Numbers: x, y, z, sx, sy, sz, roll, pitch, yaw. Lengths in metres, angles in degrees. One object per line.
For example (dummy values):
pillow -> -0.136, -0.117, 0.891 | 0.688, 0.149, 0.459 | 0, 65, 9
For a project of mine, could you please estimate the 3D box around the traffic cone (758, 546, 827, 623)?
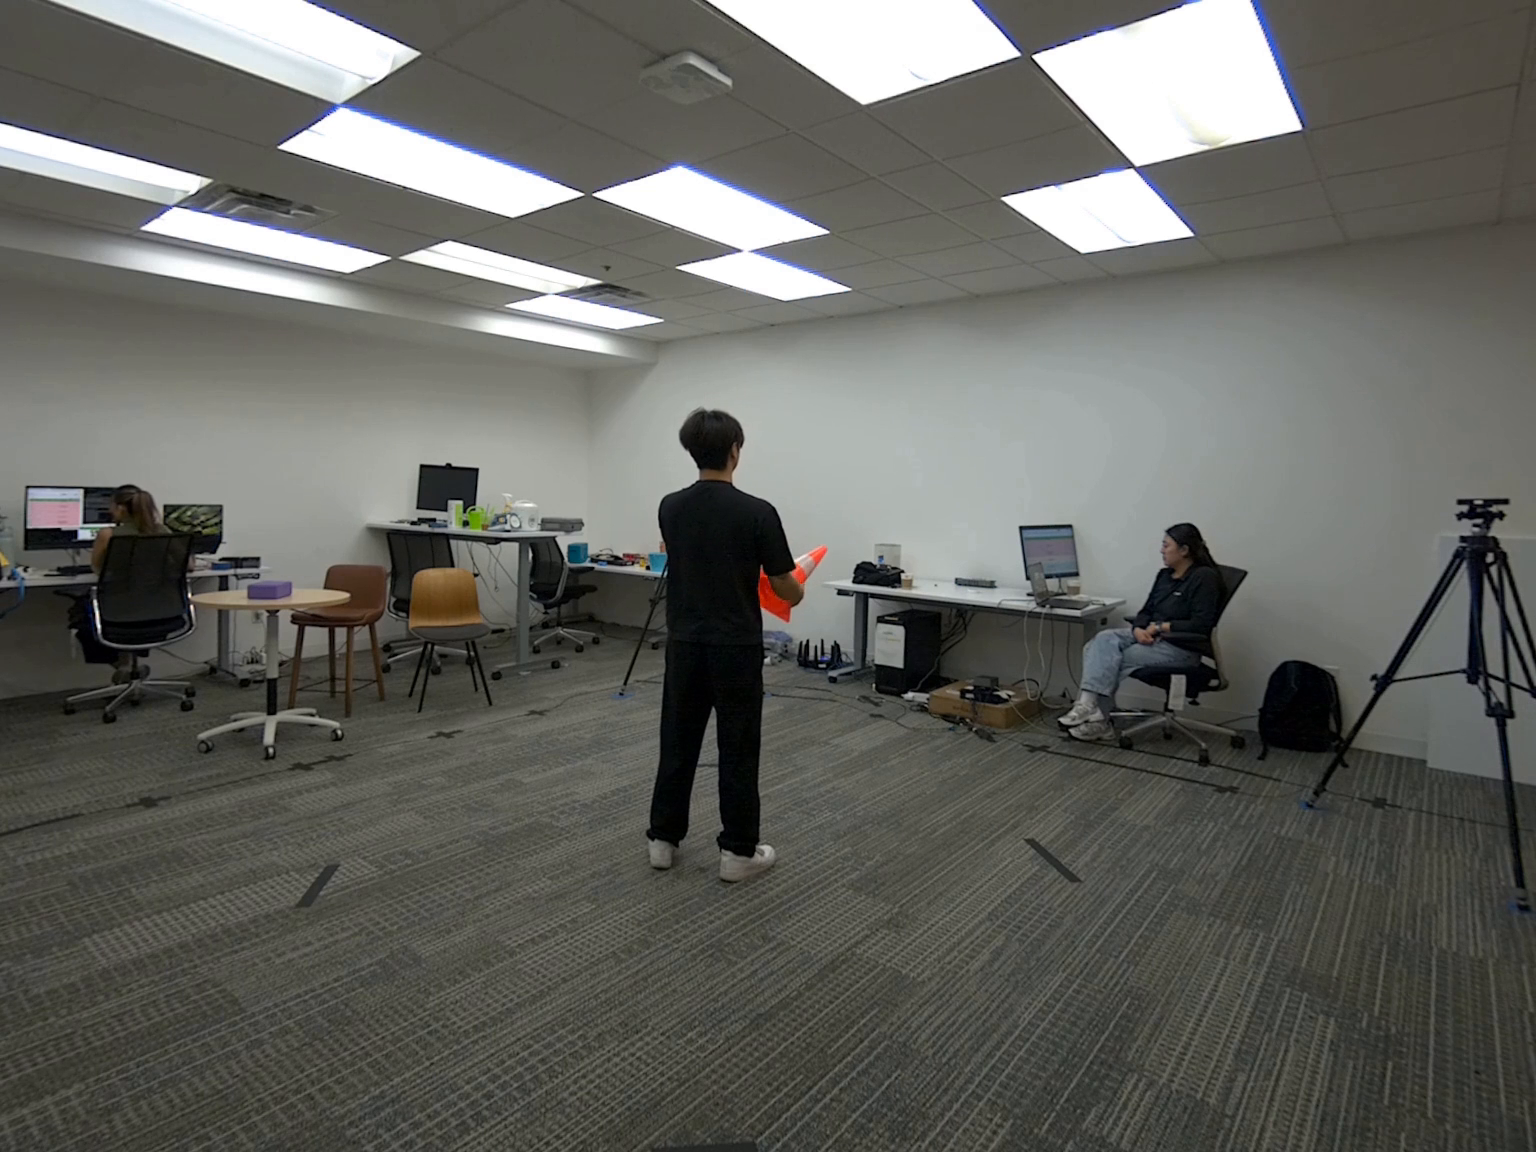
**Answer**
traffic cone -> 0.117, -0.023, 3.507 | 0.211, 0.199, 0.380 | 27, 46, 30
